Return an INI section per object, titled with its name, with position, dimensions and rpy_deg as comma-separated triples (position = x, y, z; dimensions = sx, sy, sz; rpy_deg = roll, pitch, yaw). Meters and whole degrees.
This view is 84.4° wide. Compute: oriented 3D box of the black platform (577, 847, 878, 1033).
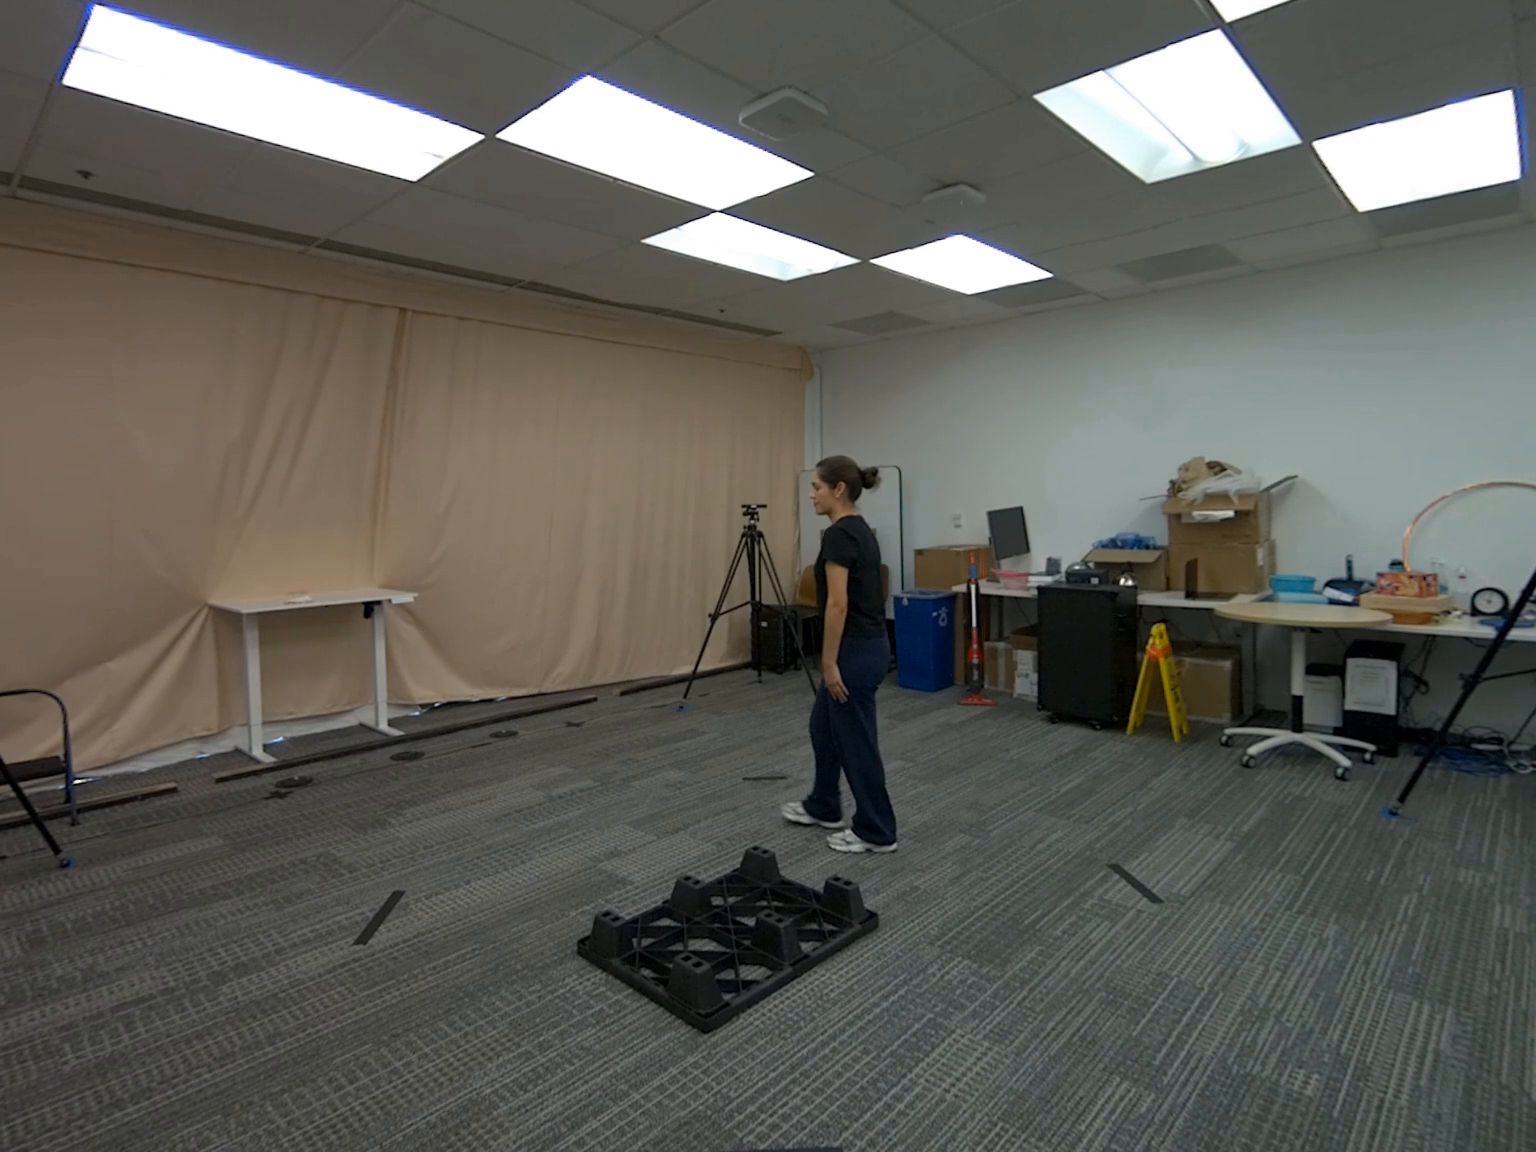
[black platform]
position = -0.102, 1.100, 2.696
dimensions = 0.625, 0.143, 0.781
rpy_deg = 3, 7, 43
